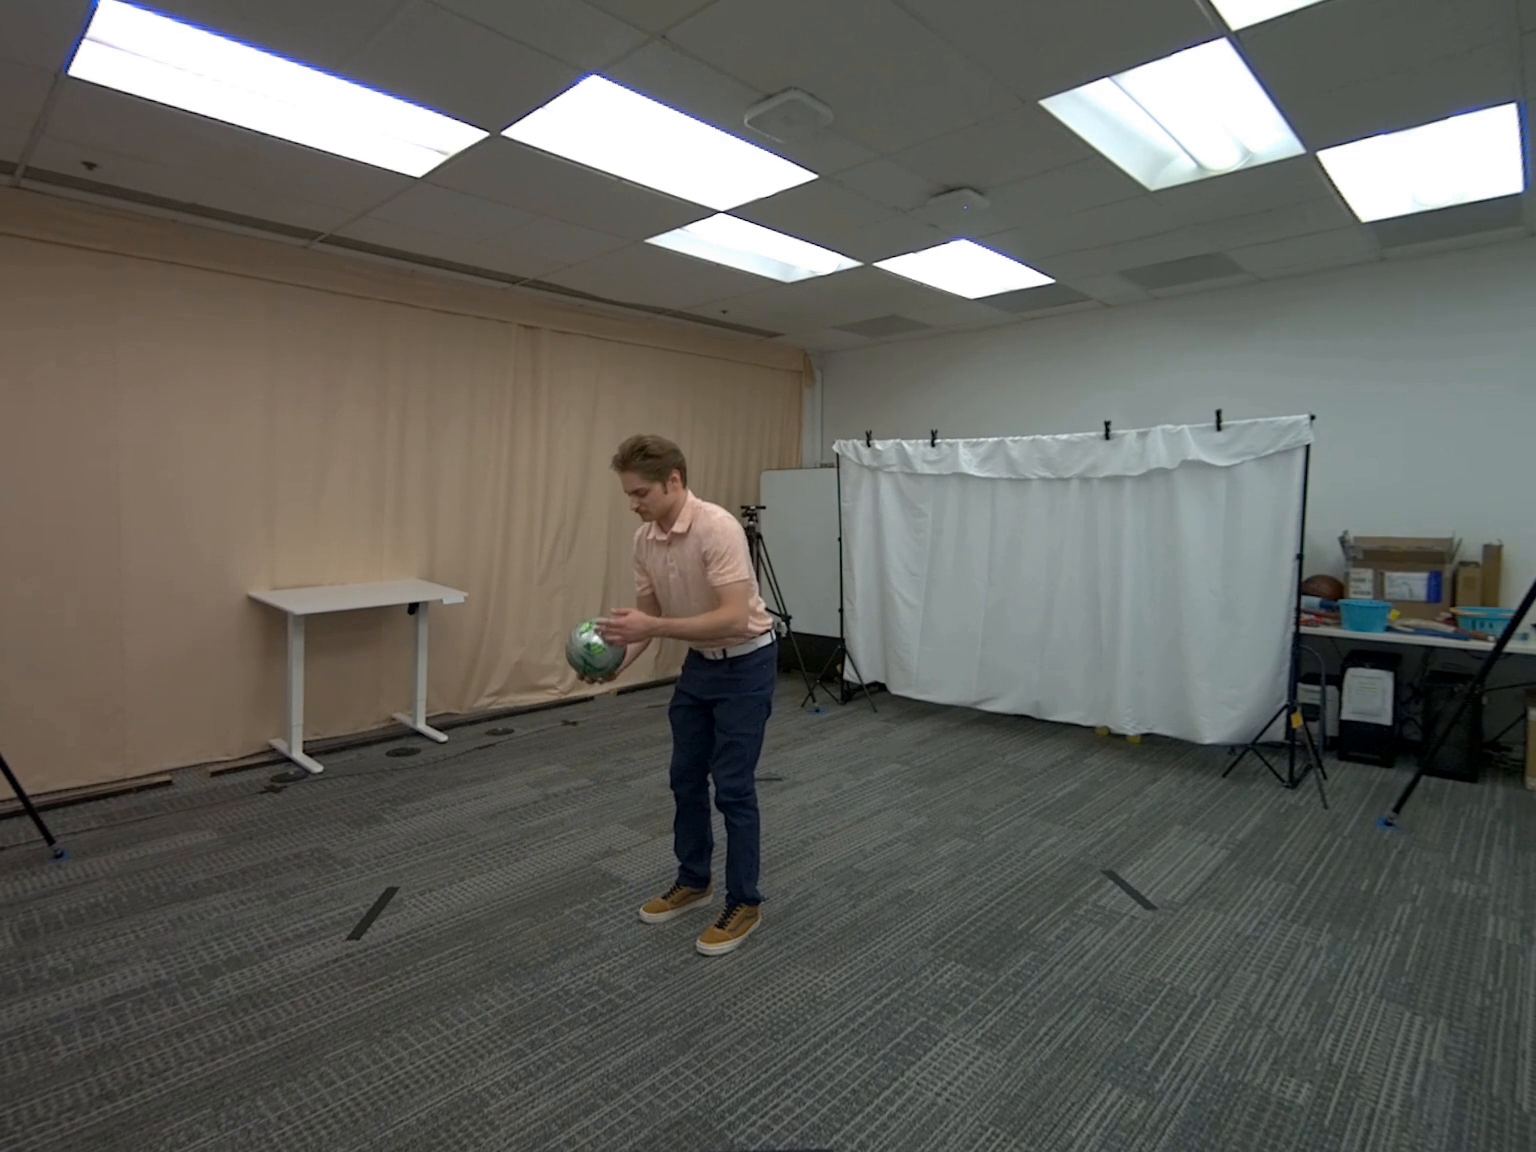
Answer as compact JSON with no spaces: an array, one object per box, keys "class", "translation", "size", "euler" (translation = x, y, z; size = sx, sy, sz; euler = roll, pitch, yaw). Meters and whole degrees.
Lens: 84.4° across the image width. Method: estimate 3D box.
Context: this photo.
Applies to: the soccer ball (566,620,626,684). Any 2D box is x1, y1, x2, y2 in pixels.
[{"class":"soccer ball","translation":[-0.525,0.257,2.586],"size":[0.187,0.187,0.188],"euler":[0,4,-2]}]
